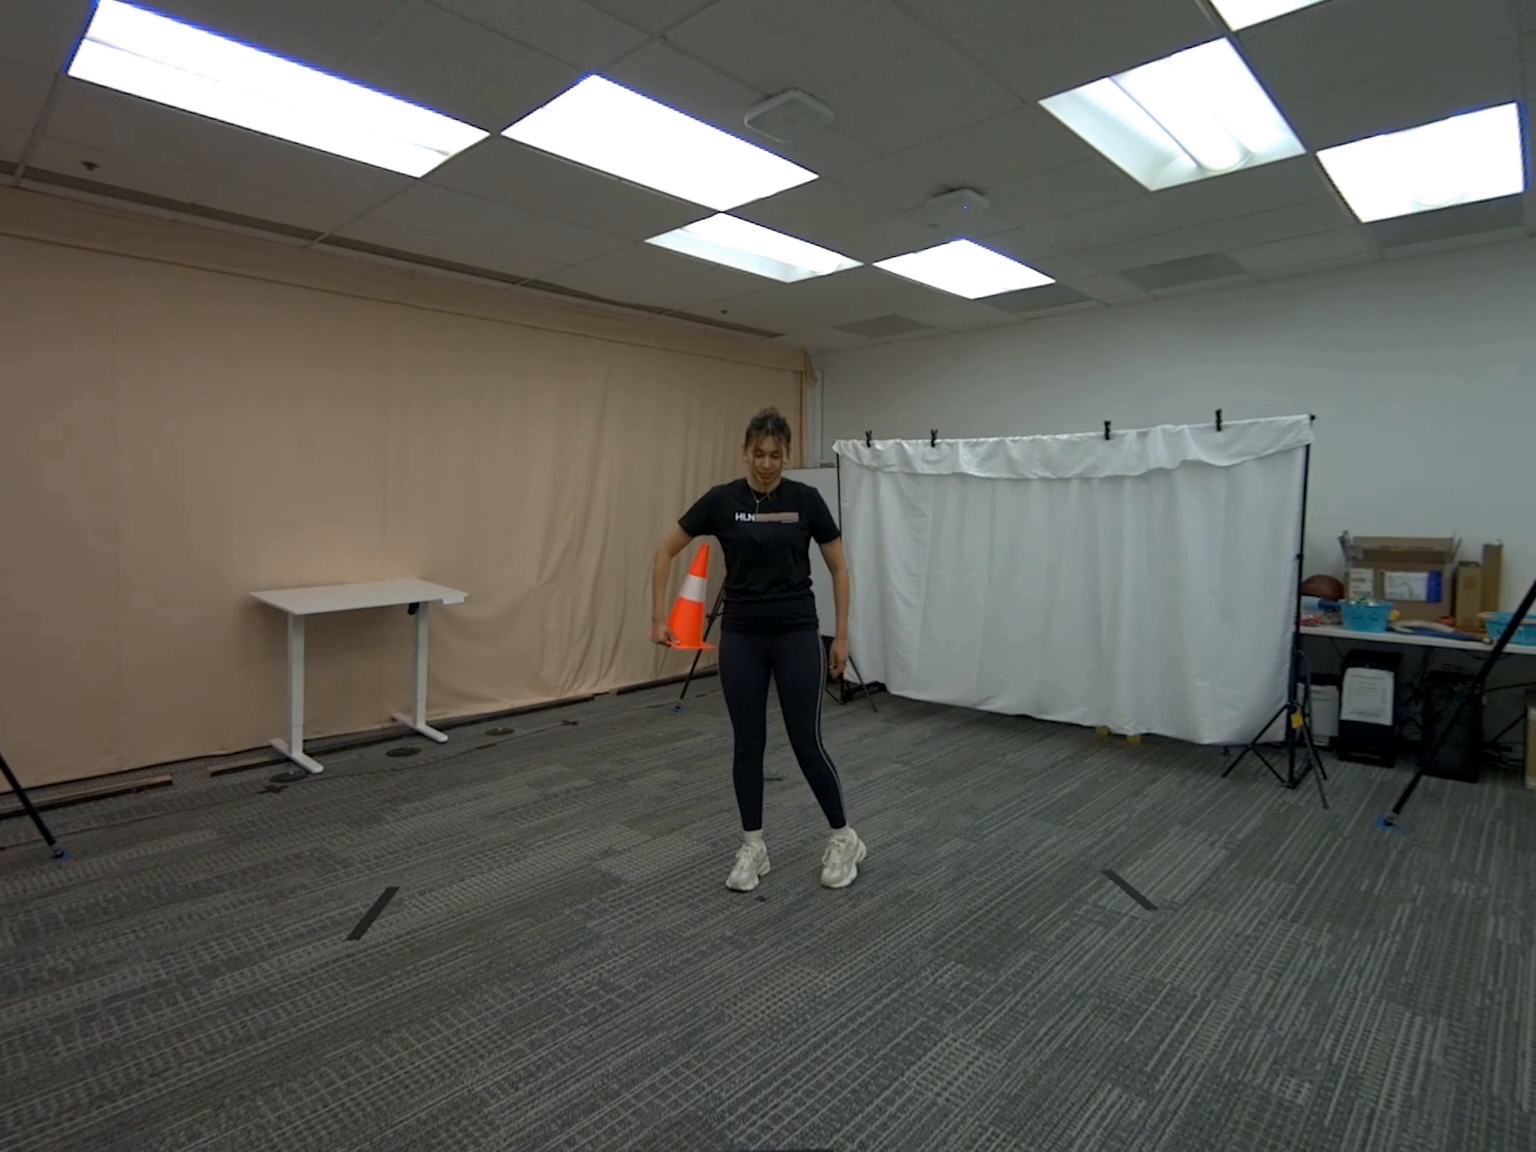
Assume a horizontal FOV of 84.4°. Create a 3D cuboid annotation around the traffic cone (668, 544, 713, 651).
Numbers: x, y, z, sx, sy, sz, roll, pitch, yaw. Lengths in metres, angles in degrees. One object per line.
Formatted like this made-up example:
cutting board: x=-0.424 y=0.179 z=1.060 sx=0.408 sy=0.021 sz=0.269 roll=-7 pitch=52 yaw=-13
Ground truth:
traffic cone: x=-0.267 y=0.067 z=3.190 sx=0.199 sy=0.383 sz=0.209 roll=13 pitch=2 yaw=-26
